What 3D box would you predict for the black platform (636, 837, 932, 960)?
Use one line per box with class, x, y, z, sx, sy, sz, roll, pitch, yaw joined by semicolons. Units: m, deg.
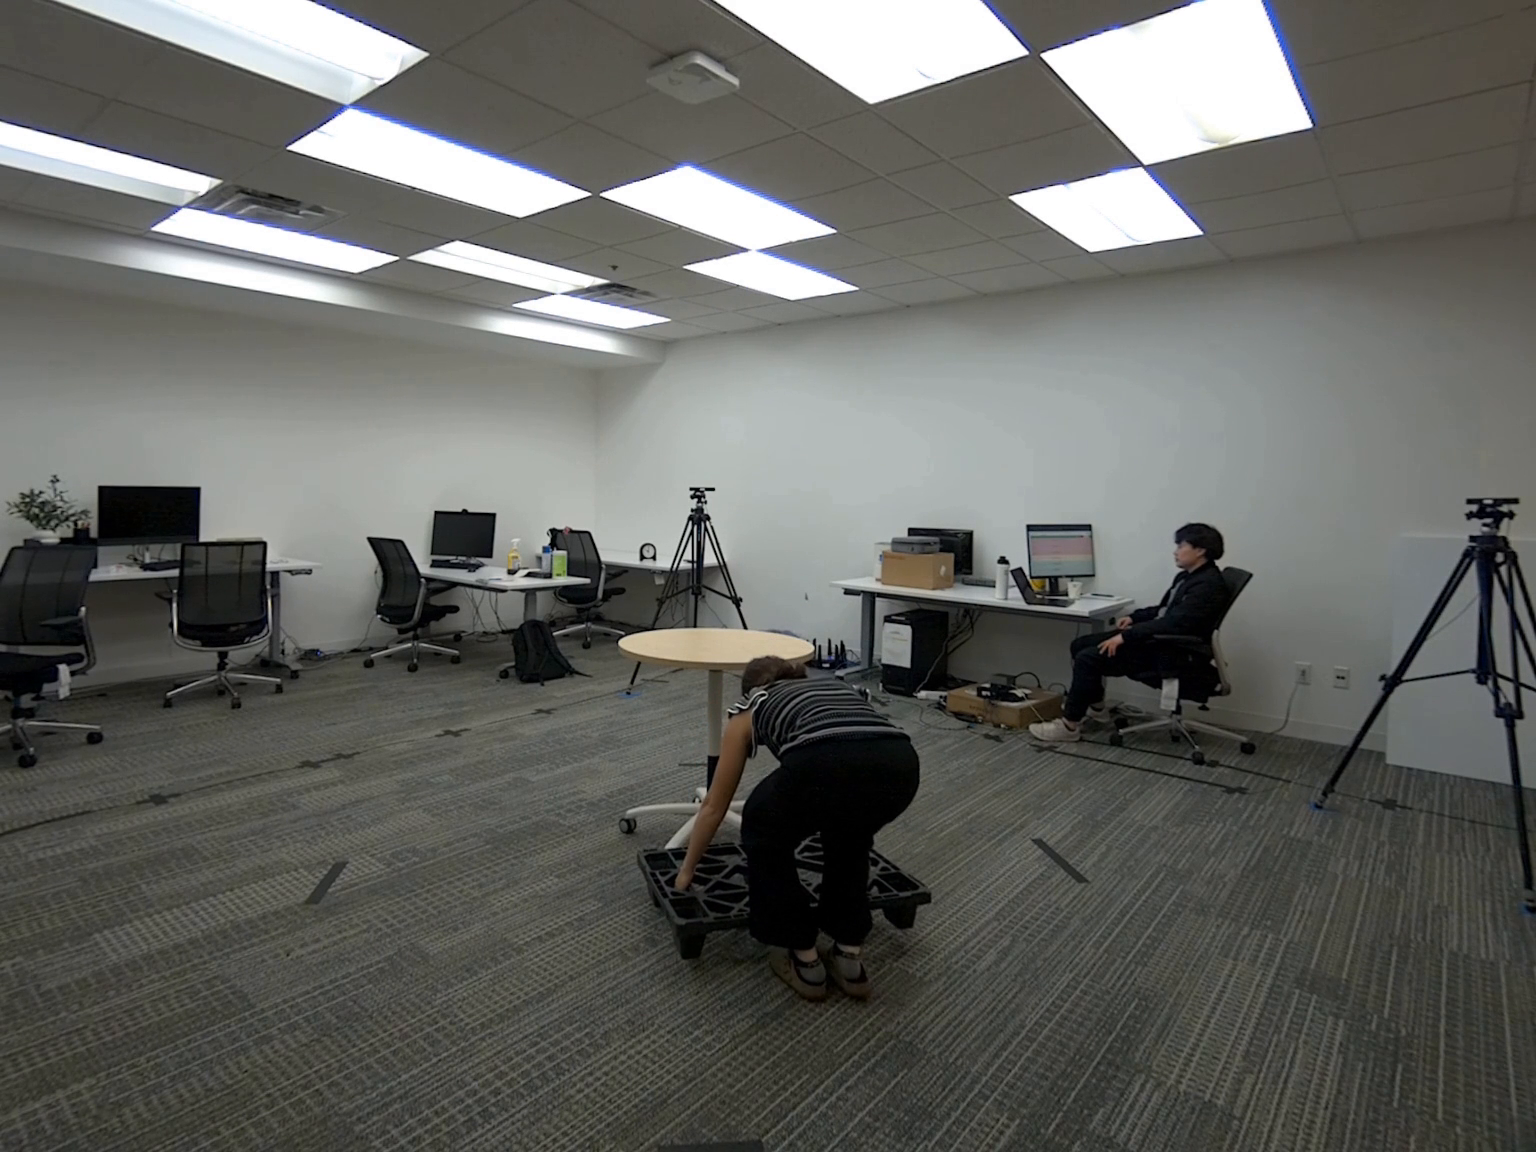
black platform;0.011;1.013;2.746;0.792;0.143;0.616;-1;2;-17
